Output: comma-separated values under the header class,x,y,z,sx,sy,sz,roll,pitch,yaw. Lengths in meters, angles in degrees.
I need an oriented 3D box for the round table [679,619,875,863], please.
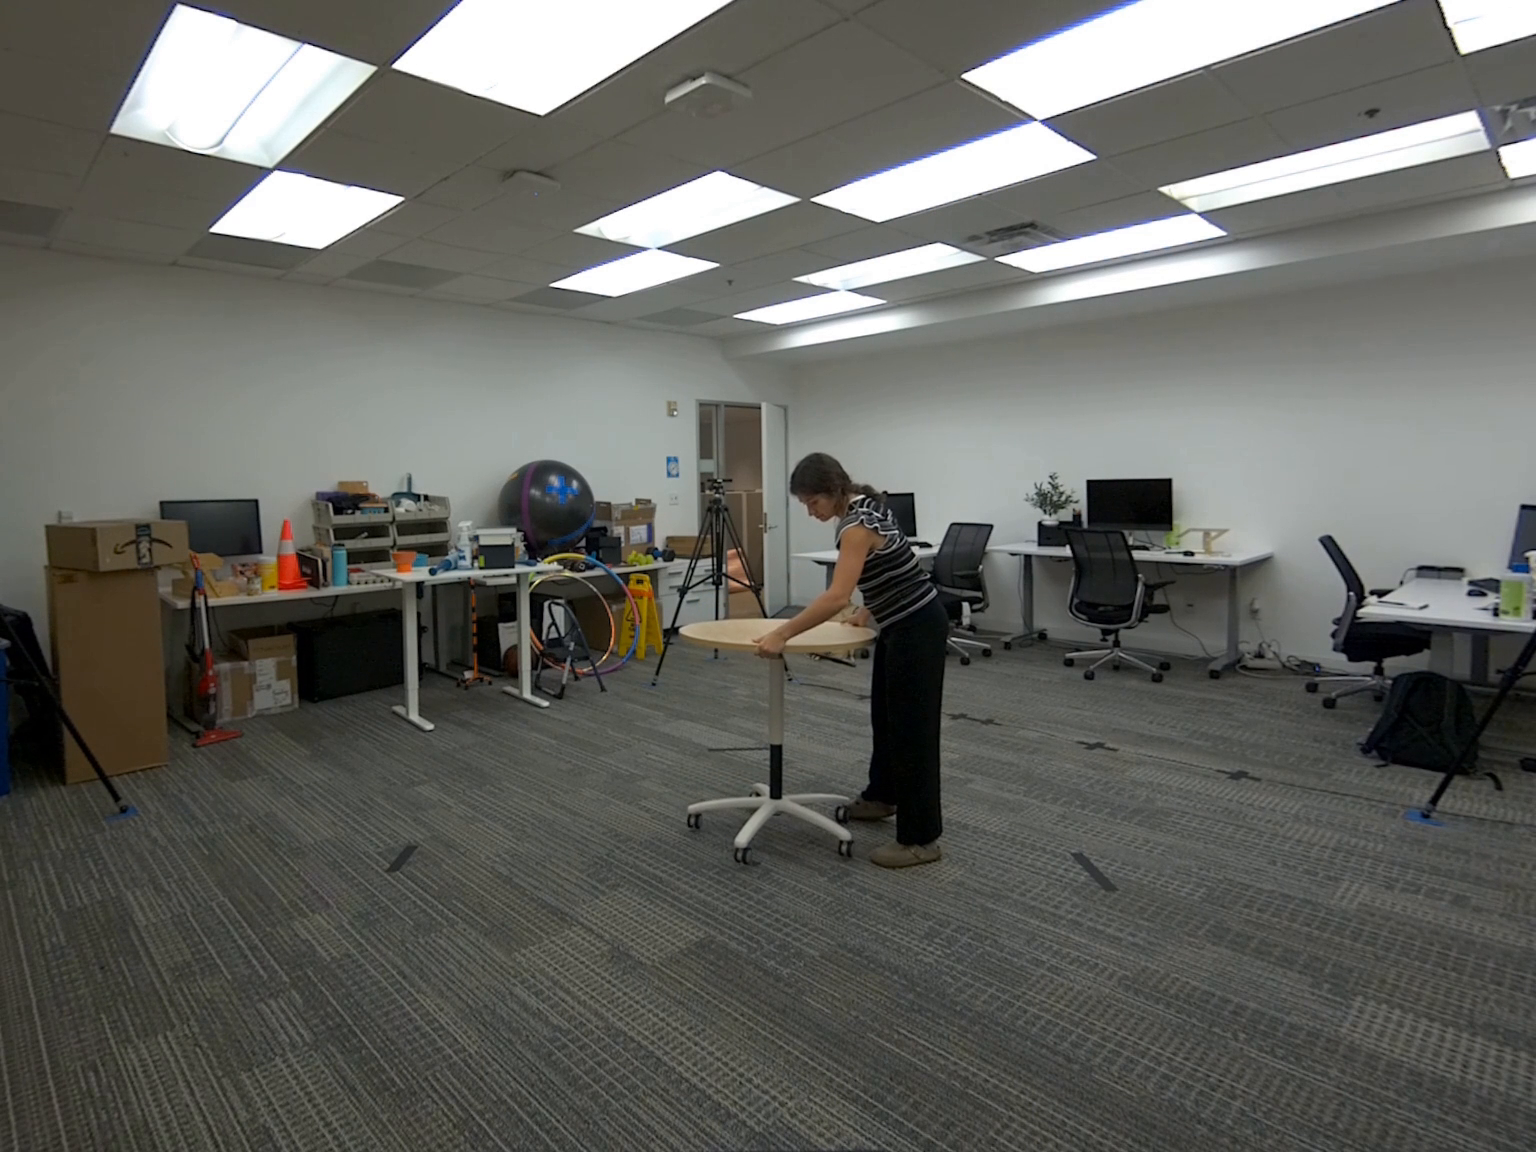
class,x,y,z,sx,sy,sz,roll,pitch,yaw
round table,0.041,0.607,3.315,0.784,0.785,0.787,0,3,-2
